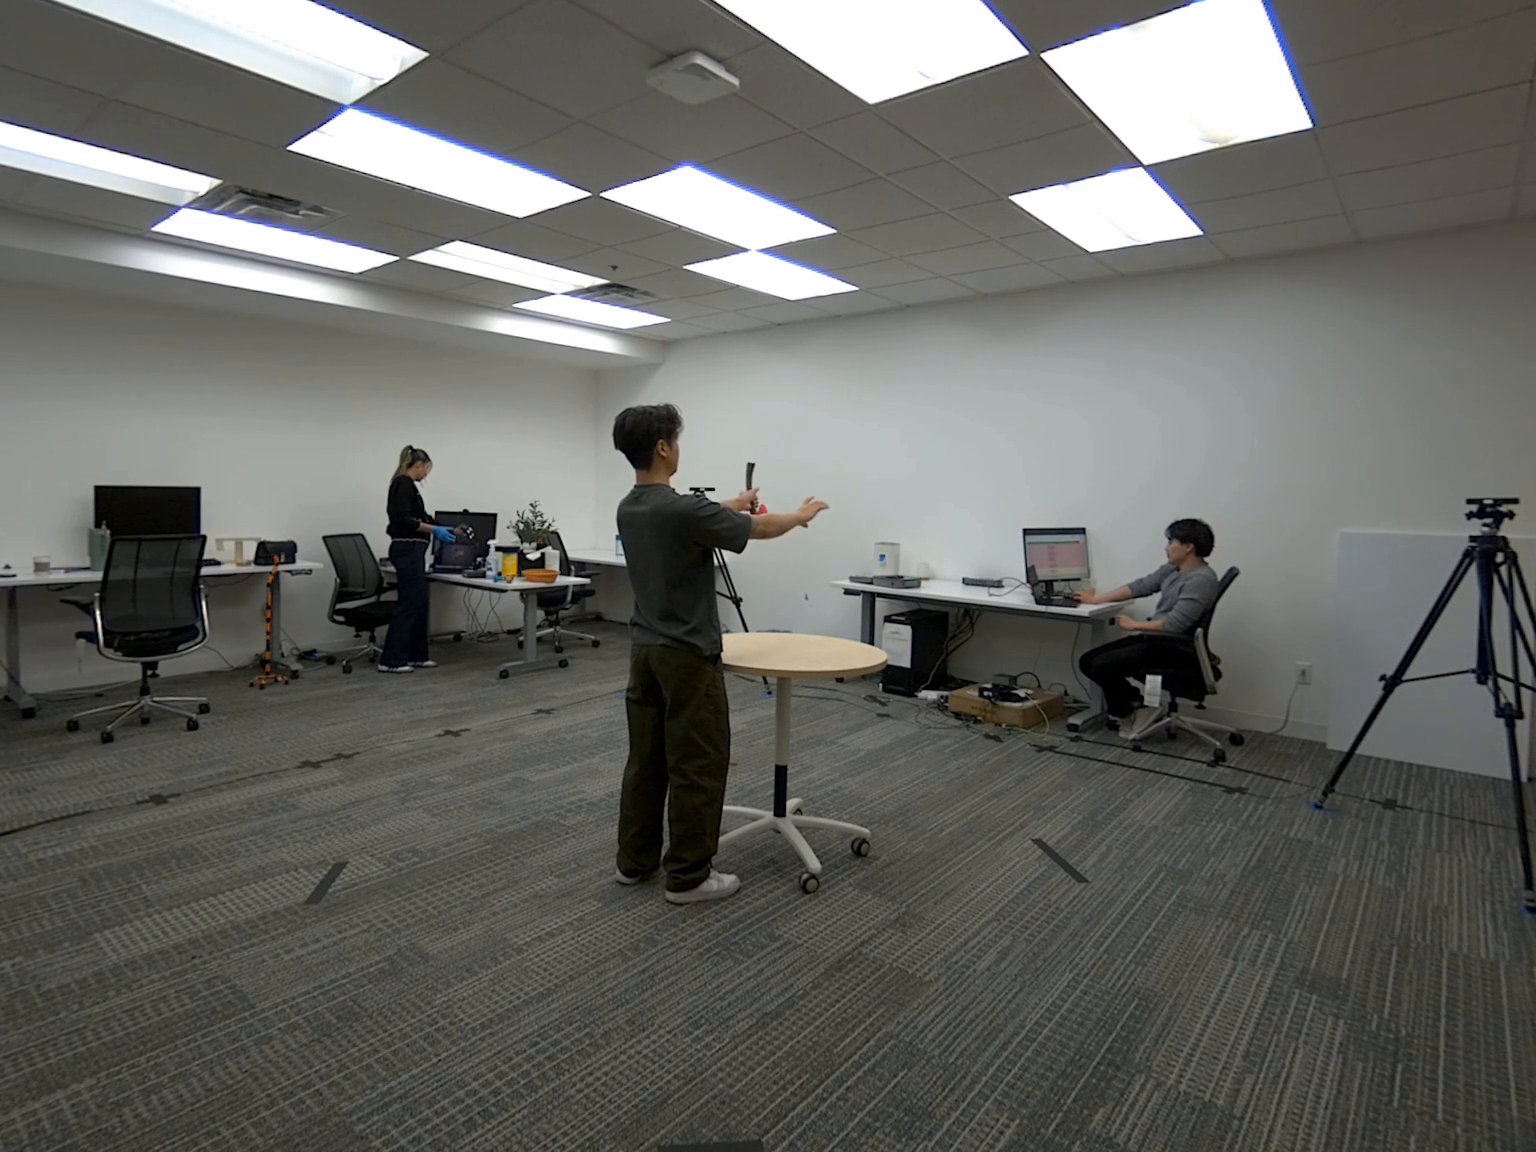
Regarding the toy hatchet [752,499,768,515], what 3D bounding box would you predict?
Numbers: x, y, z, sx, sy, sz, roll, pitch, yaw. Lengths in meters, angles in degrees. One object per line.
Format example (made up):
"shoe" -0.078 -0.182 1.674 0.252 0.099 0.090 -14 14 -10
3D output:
"toy hatchet" -0.060 -0.325 3.387 0.028 0.271 0.135 6 -5 -40
